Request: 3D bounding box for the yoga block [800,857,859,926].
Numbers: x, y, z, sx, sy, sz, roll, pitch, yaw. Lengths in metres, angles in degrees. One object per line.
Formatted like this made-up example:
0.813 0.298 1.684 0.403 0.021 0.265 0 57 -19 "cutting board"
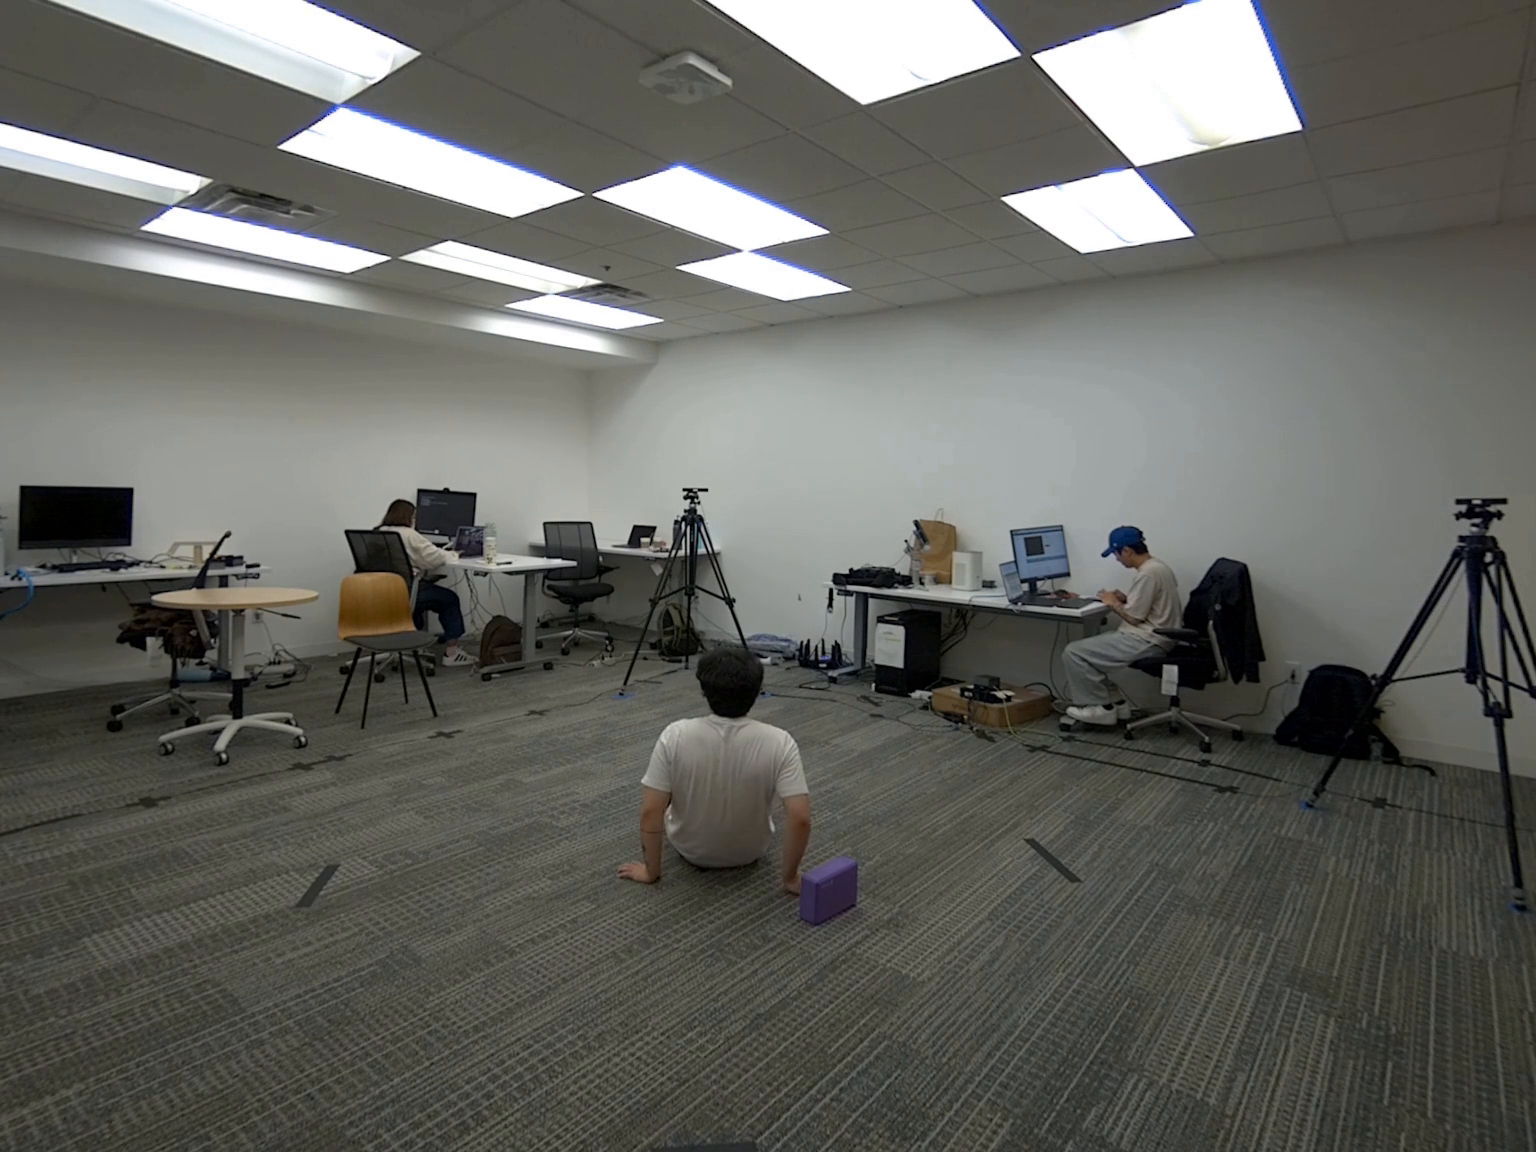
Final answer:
0.196 1.030 2.815 0.222 0.148 0.079 -1 5 -40 "yoga block"
